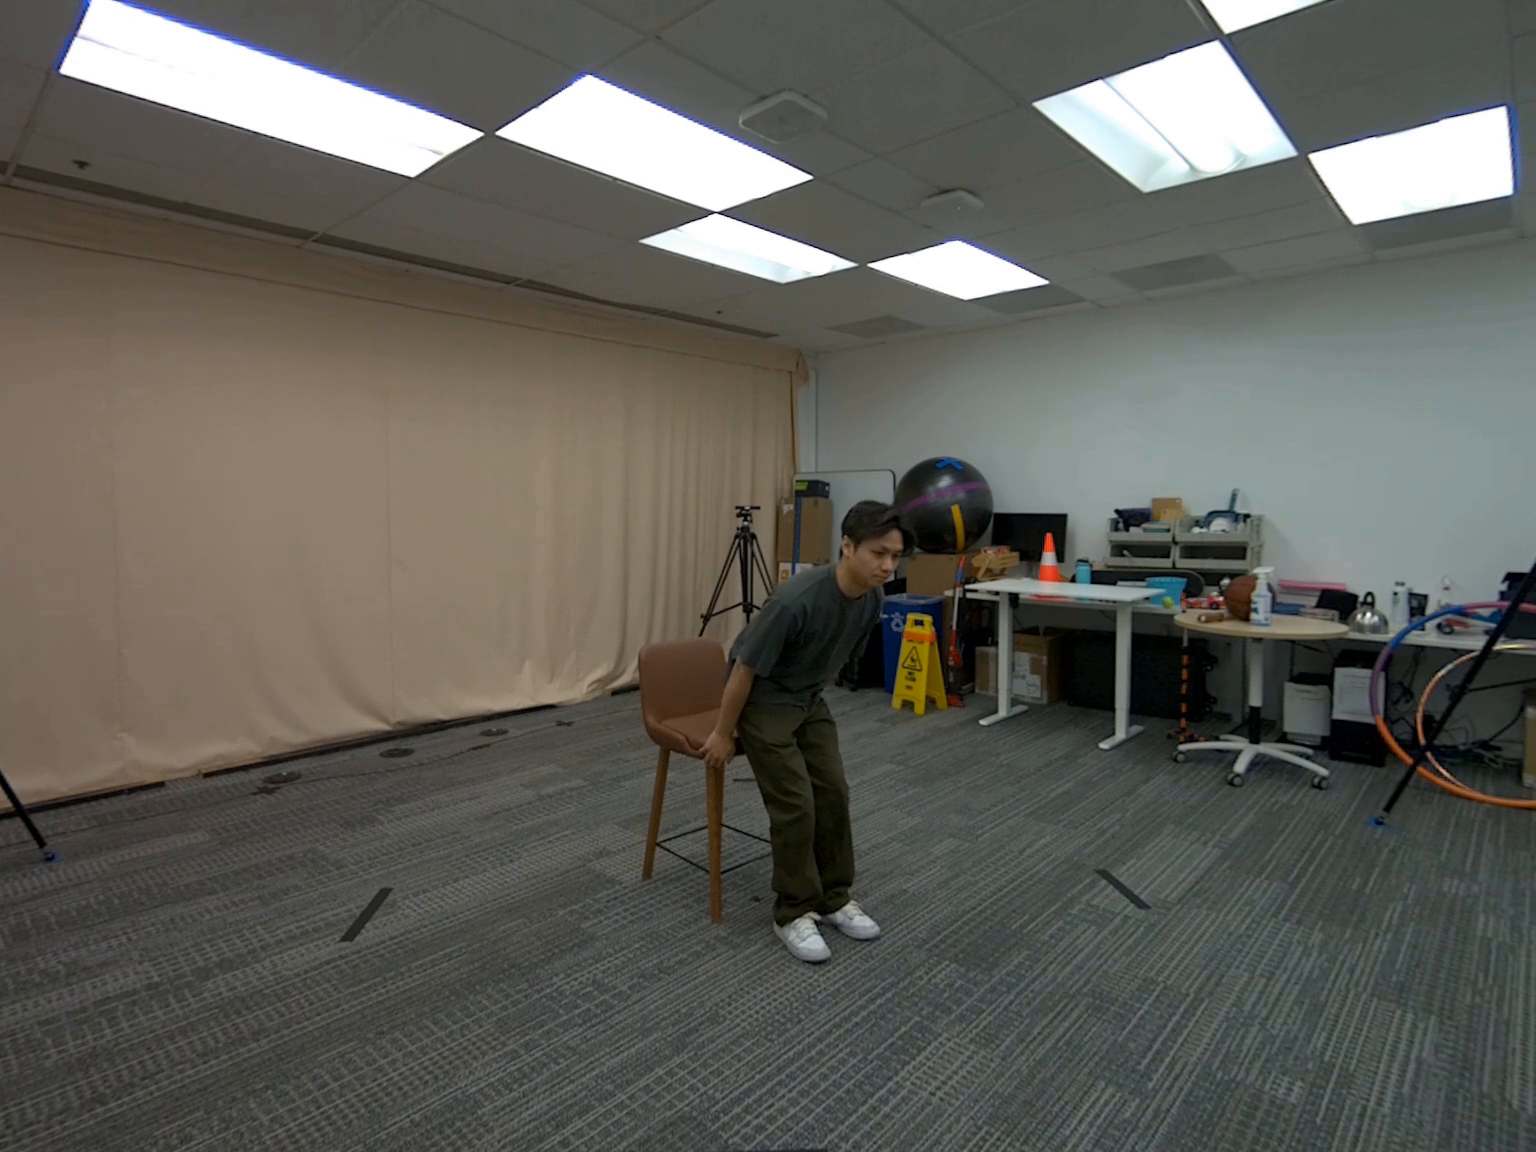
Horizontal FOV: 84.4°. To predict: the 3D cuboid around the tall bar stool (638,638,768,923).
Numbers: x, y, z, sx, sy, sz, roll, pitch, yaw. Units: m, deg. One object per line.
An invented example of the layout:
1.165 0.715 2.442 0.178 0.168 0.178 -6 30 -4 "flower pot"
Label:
-0.189 0.698 3.090 0.442 0.889 0.483 -4 3 -42 "tall bar stool"
